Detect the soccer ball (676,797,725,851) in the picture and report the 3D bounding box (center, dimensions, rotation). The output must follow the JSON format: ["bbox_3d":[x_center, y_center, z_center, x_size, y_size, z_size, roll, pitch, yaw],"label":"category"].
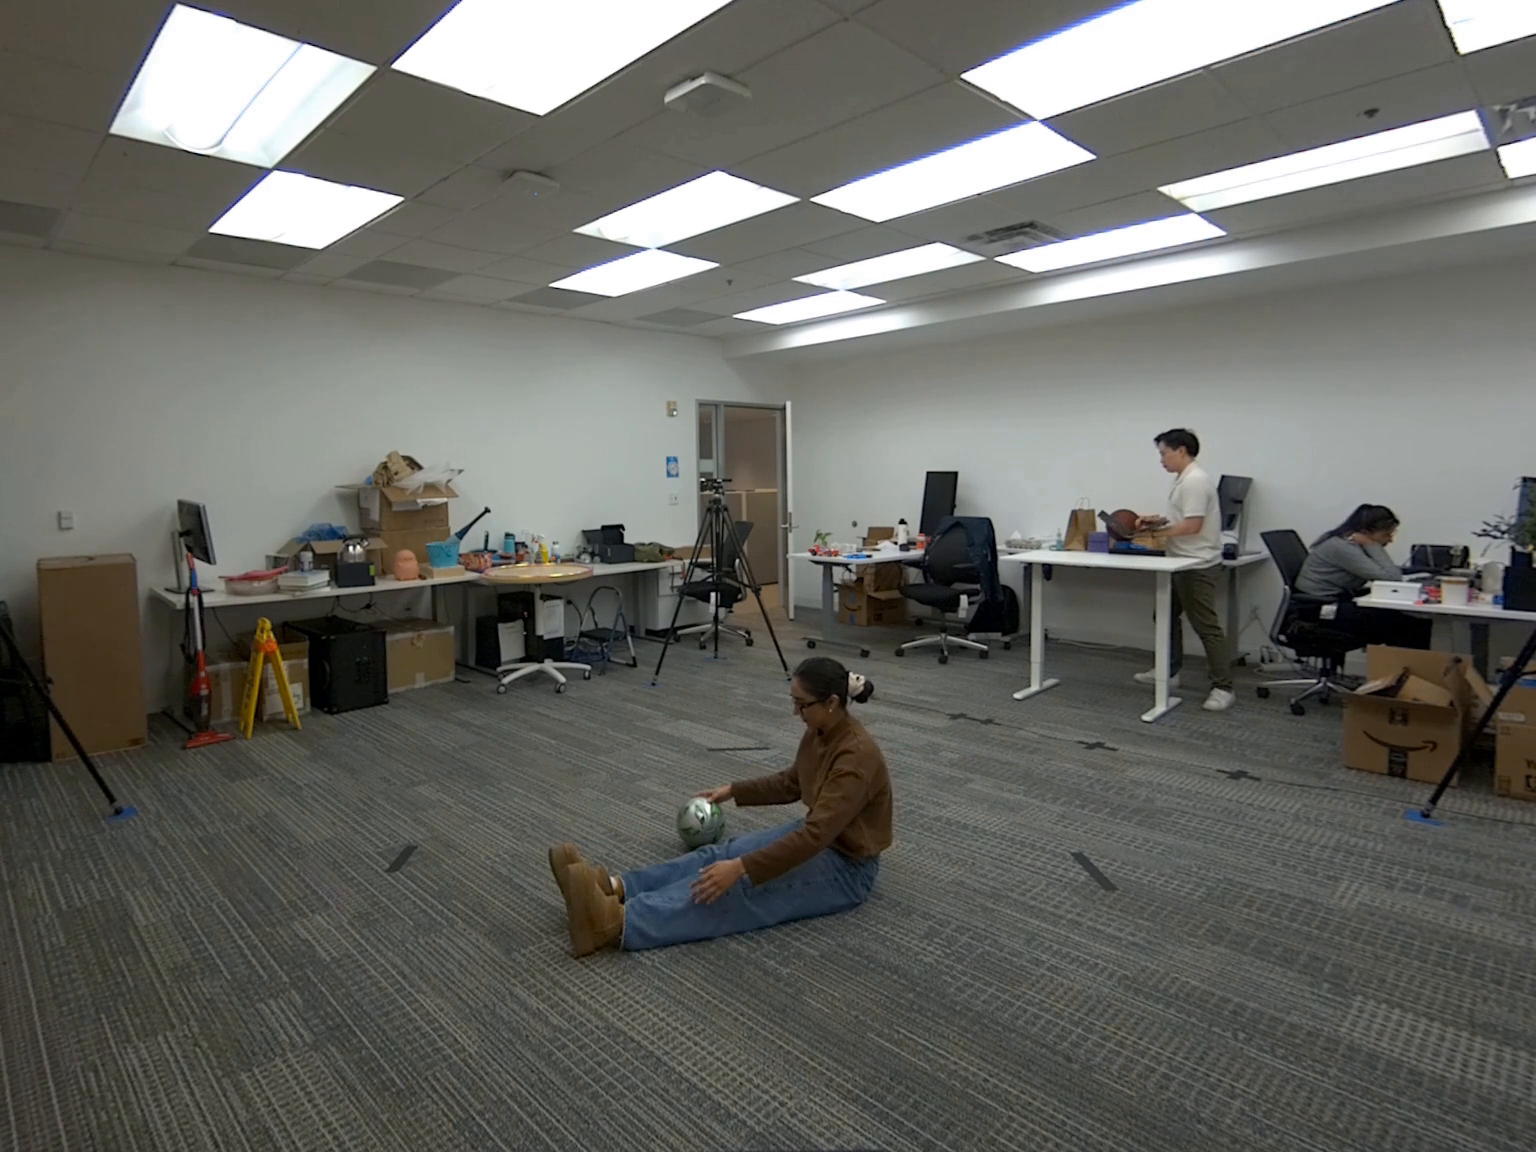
[{"bbox_3d":[-0.254,0.932,3.245,0.187,0.187,0.188,-1,5,-2],"label":"soccer ball"}]
